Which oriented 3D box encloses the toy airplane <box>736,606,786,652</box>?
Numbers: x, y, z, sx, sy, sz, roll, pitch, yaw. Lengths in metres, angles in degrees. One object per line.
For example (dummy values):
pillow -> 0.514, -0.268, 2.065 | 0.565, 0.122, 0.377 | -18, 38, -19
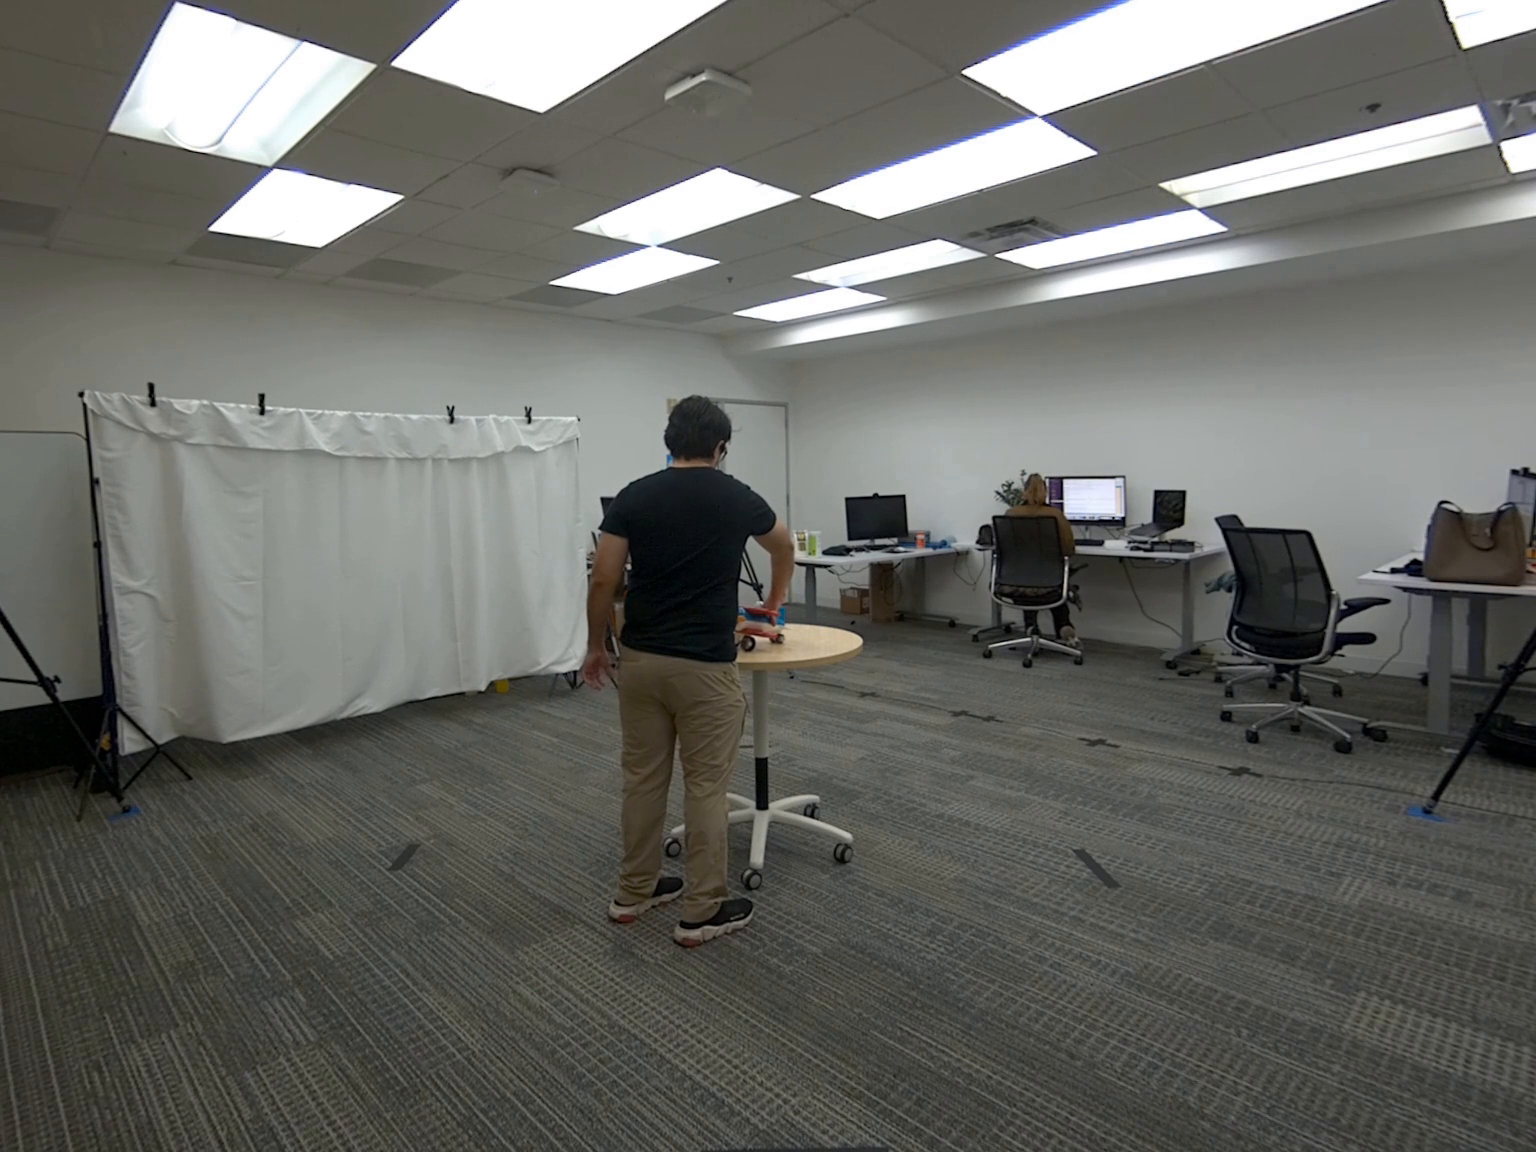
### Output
toy airplane -> -0.055, 0.179, 3.103 | 0.256, 0.155, 0.255 | 0, 7, 23
